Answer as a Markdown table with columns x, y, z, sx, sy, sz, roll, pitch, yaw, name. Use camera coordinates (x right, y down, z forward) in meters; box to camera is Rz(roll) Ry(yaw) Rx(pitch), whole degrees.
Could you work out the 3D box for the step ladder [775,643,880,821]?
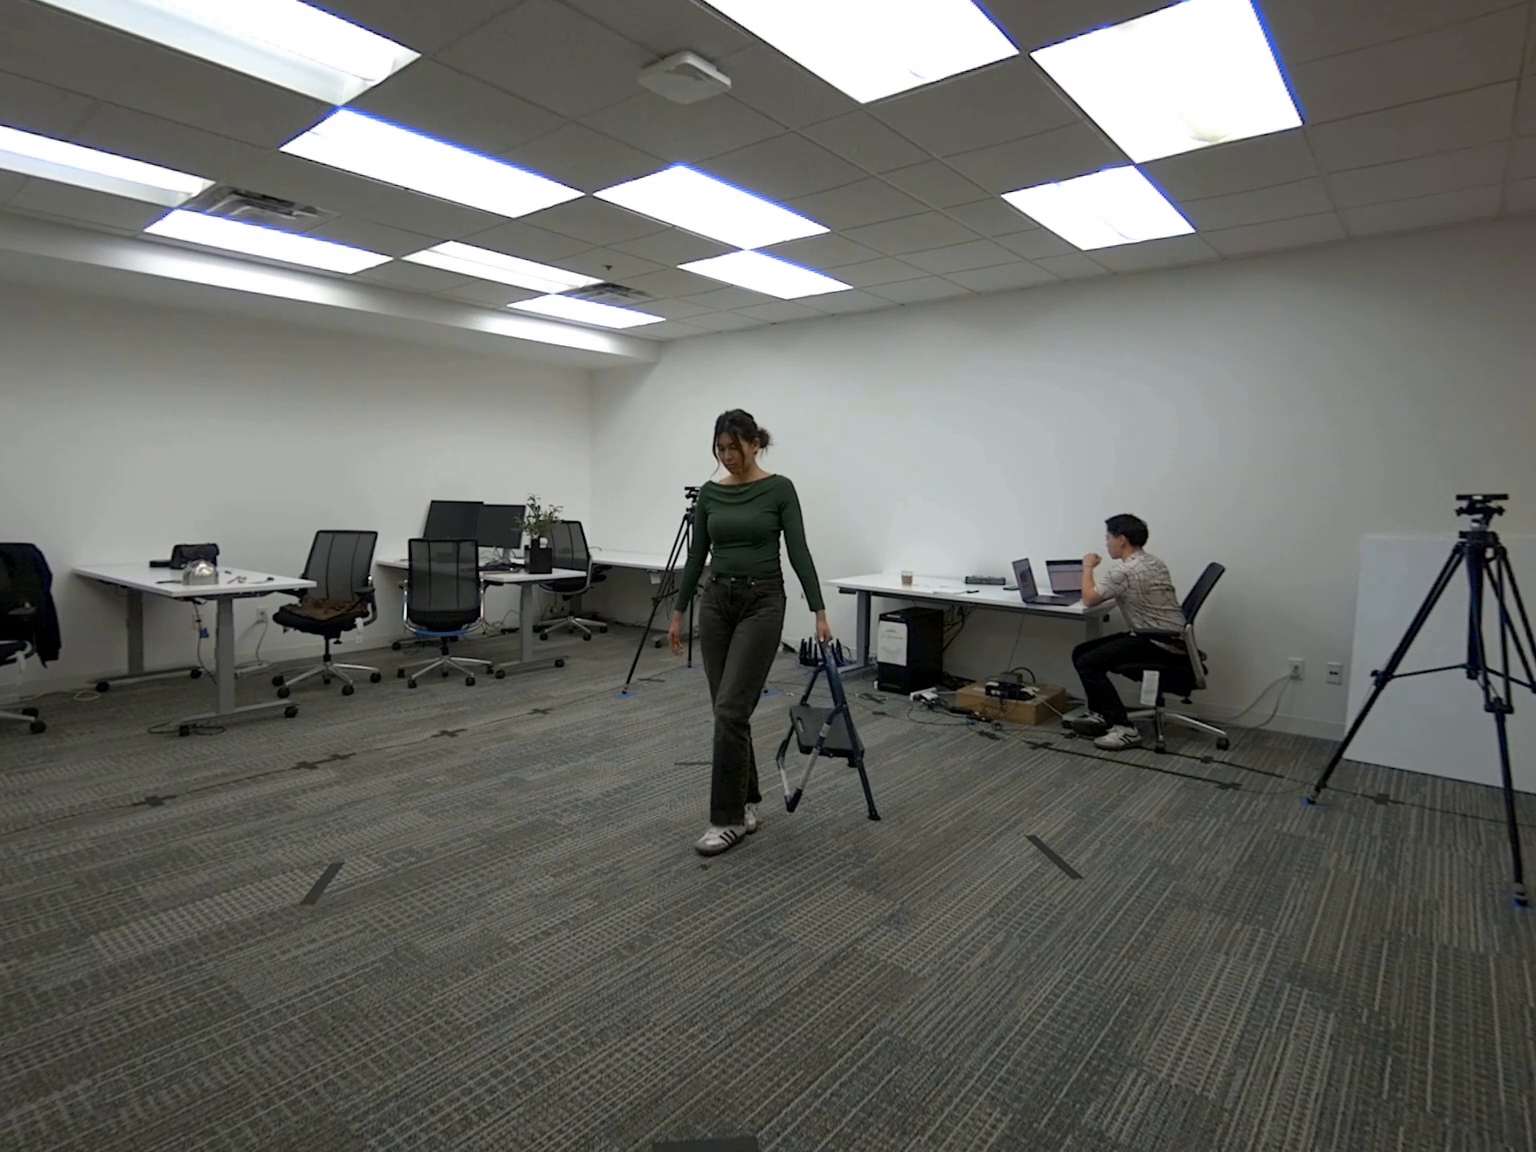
| x | y | z | sx | sy | sz | roll | pitch | yaw | name |
| --- | --- | --- | --- | --- | --- | --- | --- | --- | --- |
| 0.248 | 0.544 | 3.275 | 0.346 | 0.600 | 0.438 | 4 | 12 | -8 | step ladder |
